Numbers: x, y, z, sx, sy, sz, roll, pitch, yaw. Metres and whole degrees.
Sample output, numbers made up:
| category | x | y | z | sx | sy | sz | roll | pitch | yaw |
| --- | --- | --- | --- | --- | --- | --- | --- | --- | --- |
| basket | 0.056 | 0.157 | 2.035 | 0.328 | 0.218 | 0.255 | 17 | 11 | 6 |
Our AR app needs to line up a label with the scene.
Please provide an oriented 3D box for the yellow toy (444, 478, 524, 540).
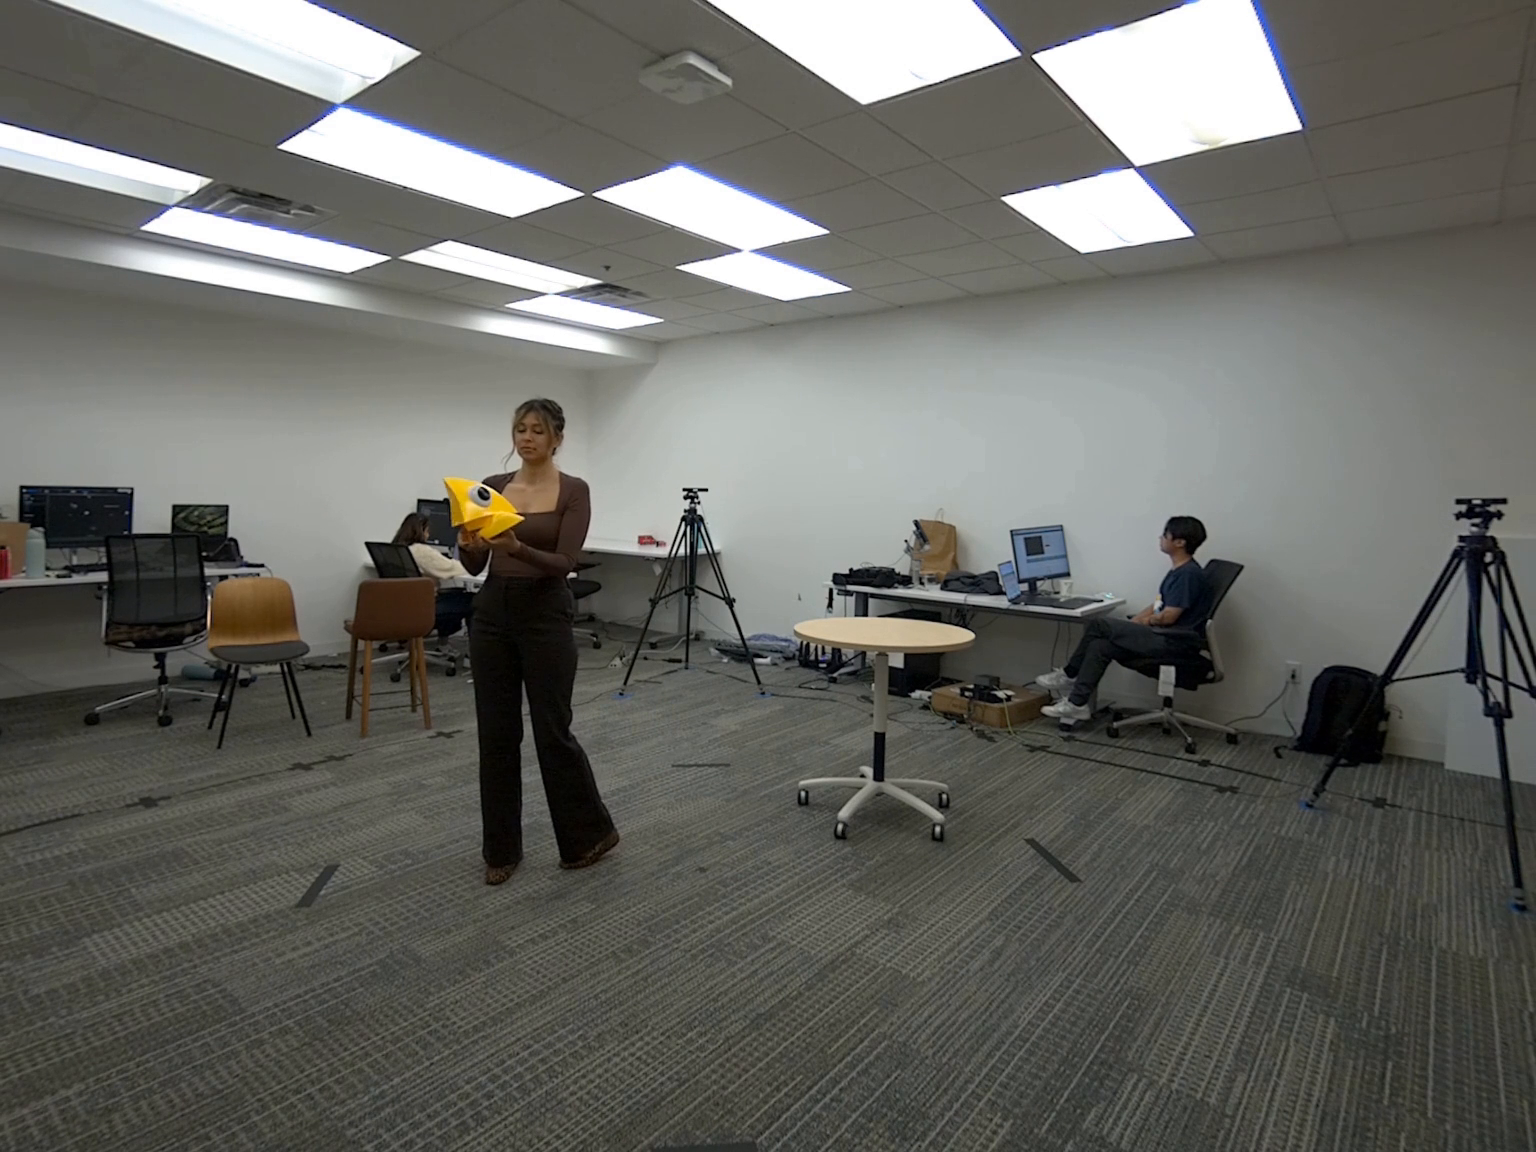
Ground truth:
| category | x | y | z | sx | sy | sz | roll | pitch | yaw |
| --- | --- | --- | --- | --- | --- | --- | --- | --- | --- |
| yellow toy | -0.945 | -0.243 | 2.729 | 0.191 | 0.227 | 0.210 | -32 | 14 | -26 |
